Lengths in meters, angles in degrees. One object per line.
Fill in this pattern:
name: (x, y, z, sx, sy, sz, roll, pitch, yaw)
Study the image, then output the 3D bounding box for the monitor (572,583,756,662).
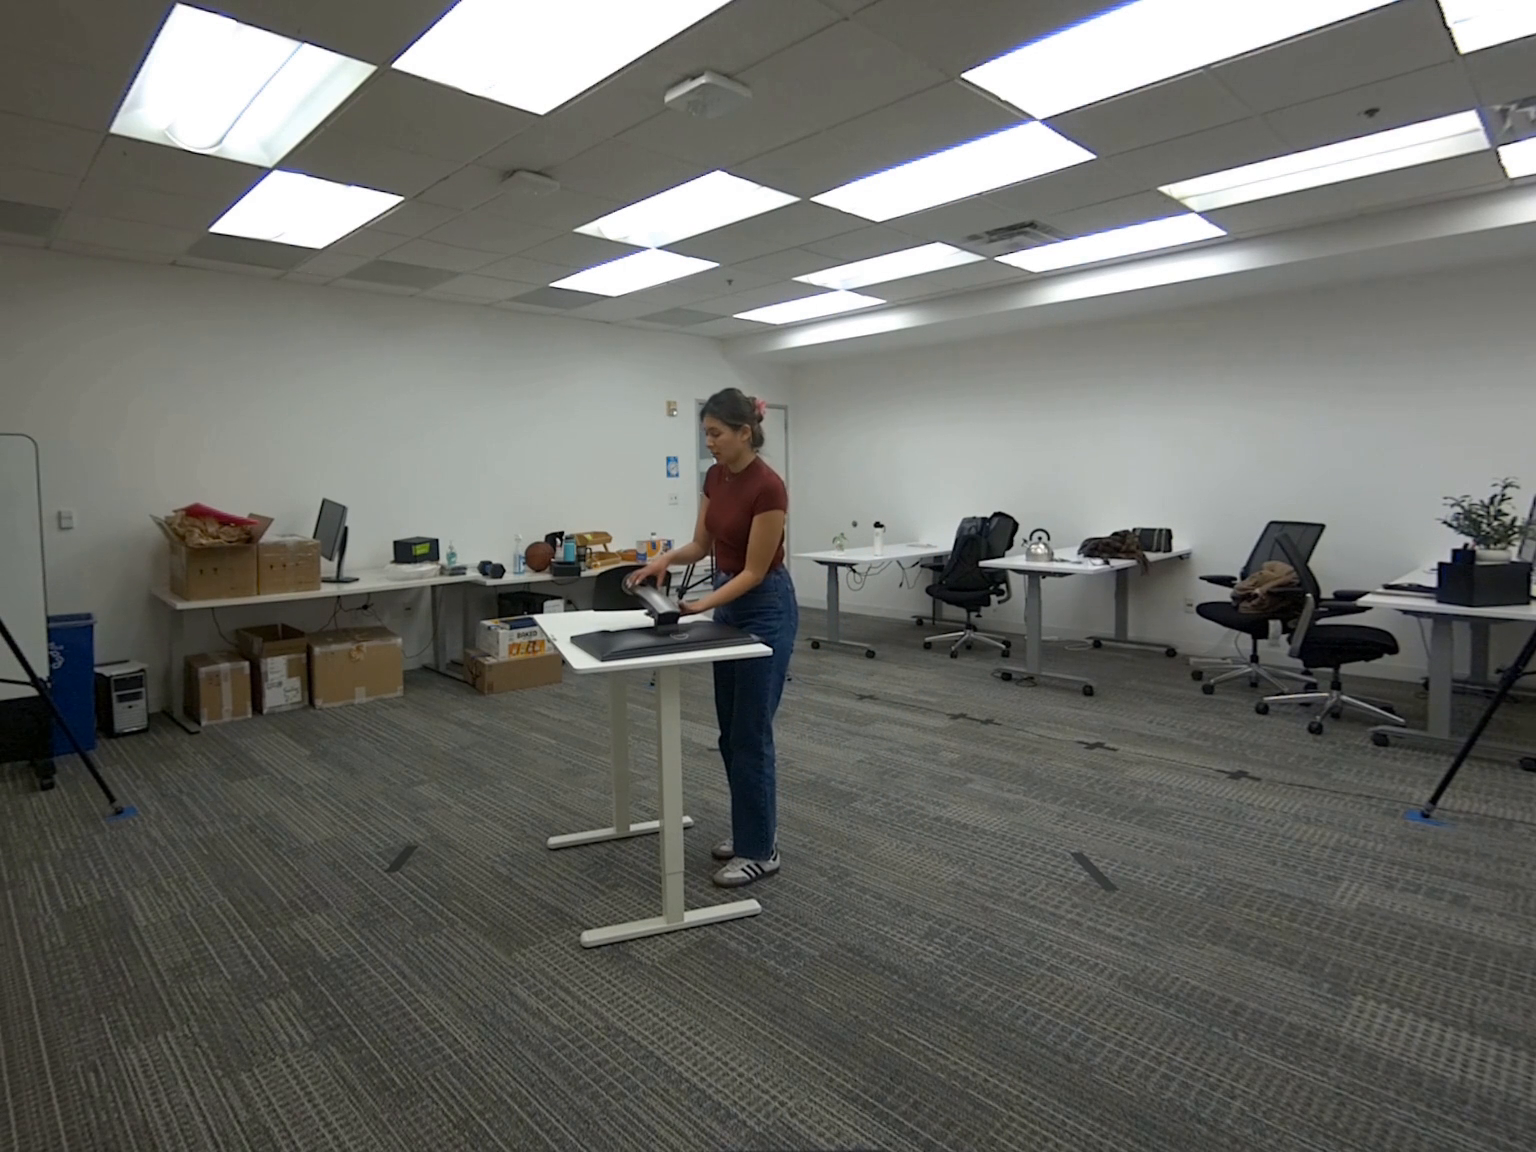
monitor: (-0.365, 0.143, 2.797, 0.528, 0.184, 0.542, -5, 23, -25)
